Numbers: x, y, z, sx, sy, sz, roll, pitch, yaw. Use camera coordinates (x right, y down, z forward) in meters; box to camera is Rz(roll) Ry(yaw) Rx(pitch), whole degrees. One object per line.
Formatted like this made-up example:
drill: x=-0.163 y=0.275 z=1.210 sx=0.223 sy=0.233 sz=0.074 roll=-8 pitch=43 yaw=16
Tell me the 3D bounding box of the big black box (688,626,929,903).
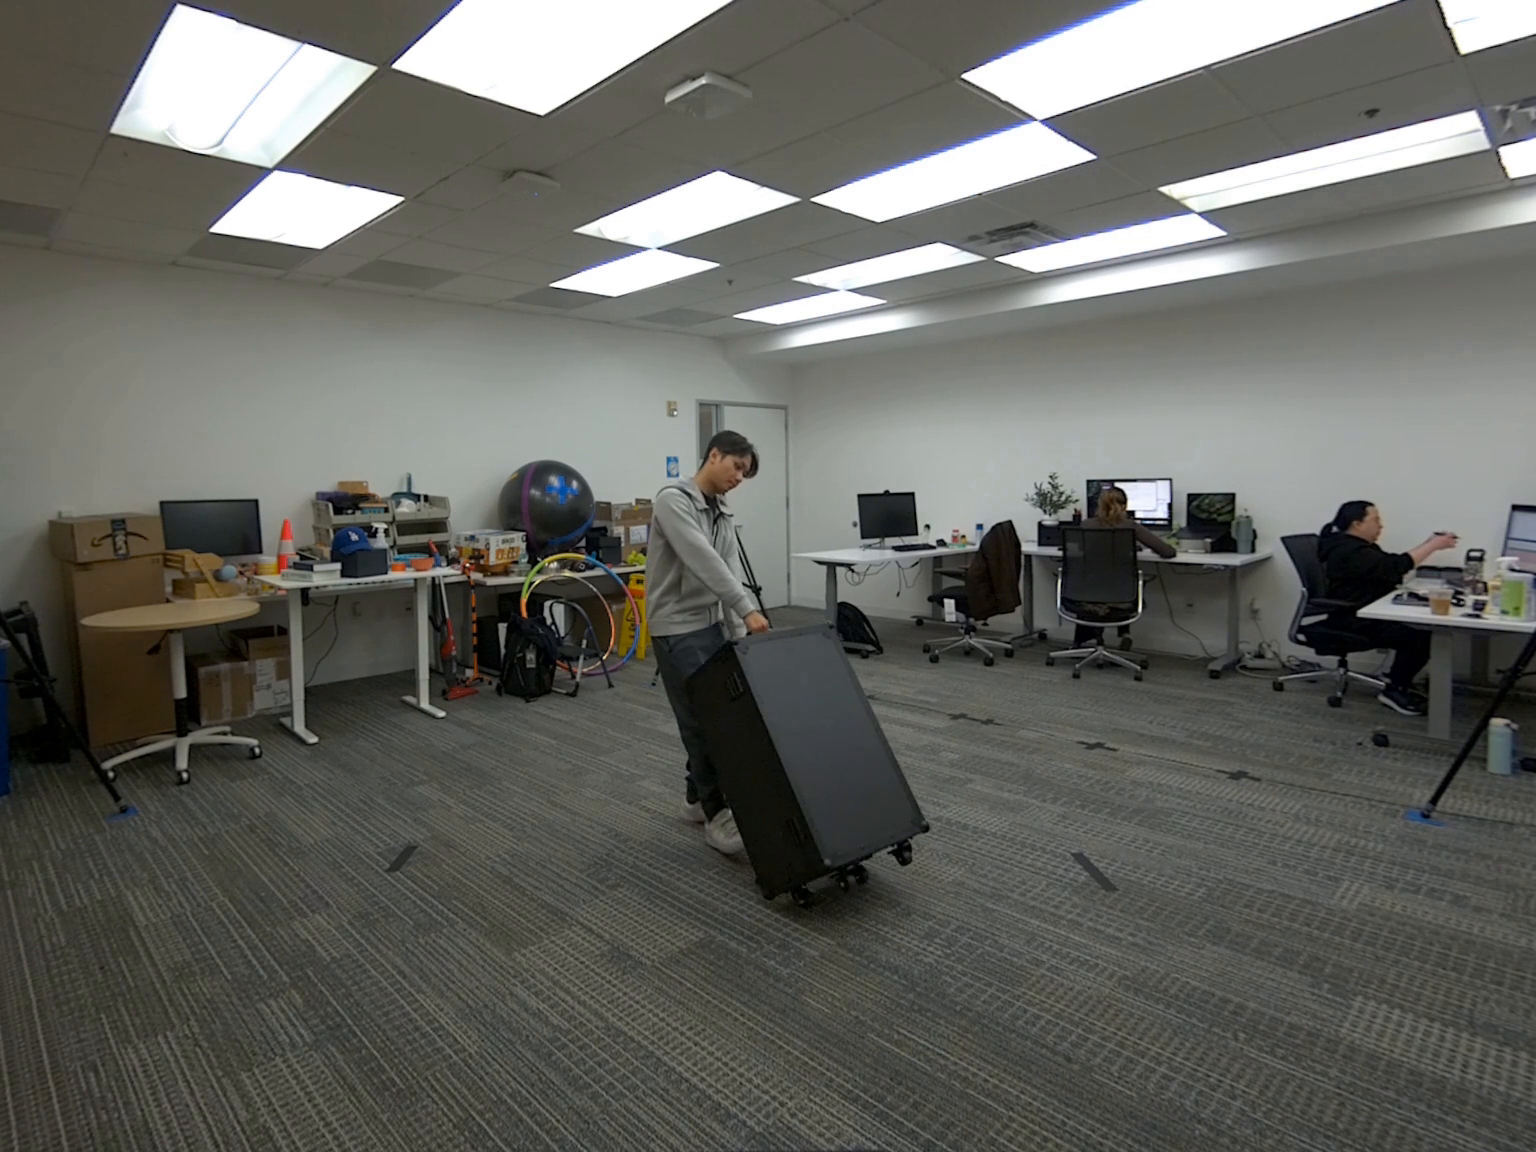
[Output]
big black box: x=0.119 y=0.655 z=2.951 sx=0.508 sy=0.885 sz=0.396 roll=-5 pitch=-30 yaw=-39
